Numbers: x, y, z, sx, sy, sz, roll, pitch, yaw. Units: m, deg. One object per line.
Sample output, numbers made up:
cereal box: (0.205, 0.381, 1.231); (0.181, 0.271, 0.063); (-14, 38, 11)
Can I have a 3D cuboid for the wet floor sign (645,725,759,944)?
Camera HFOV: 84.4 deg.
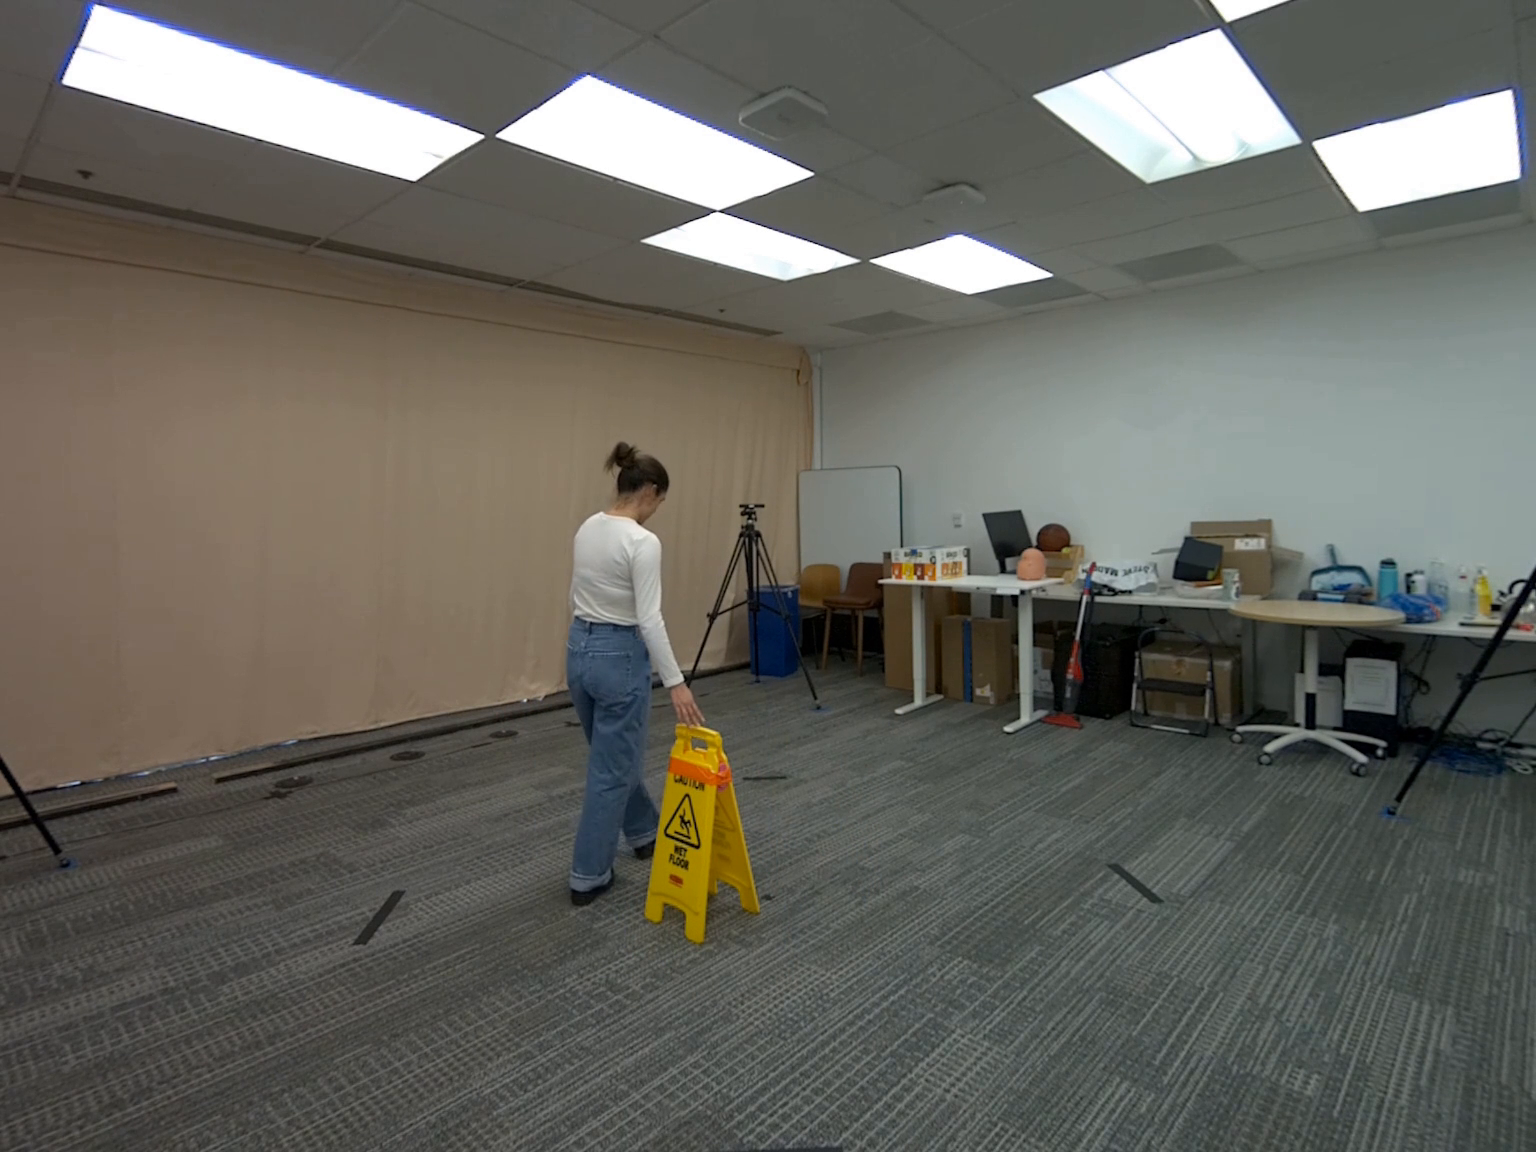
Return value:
wet floor sign: (-0.227, 0.832, 2.845); (0.291, 0.645, 0.281); (1, 4, 43)
